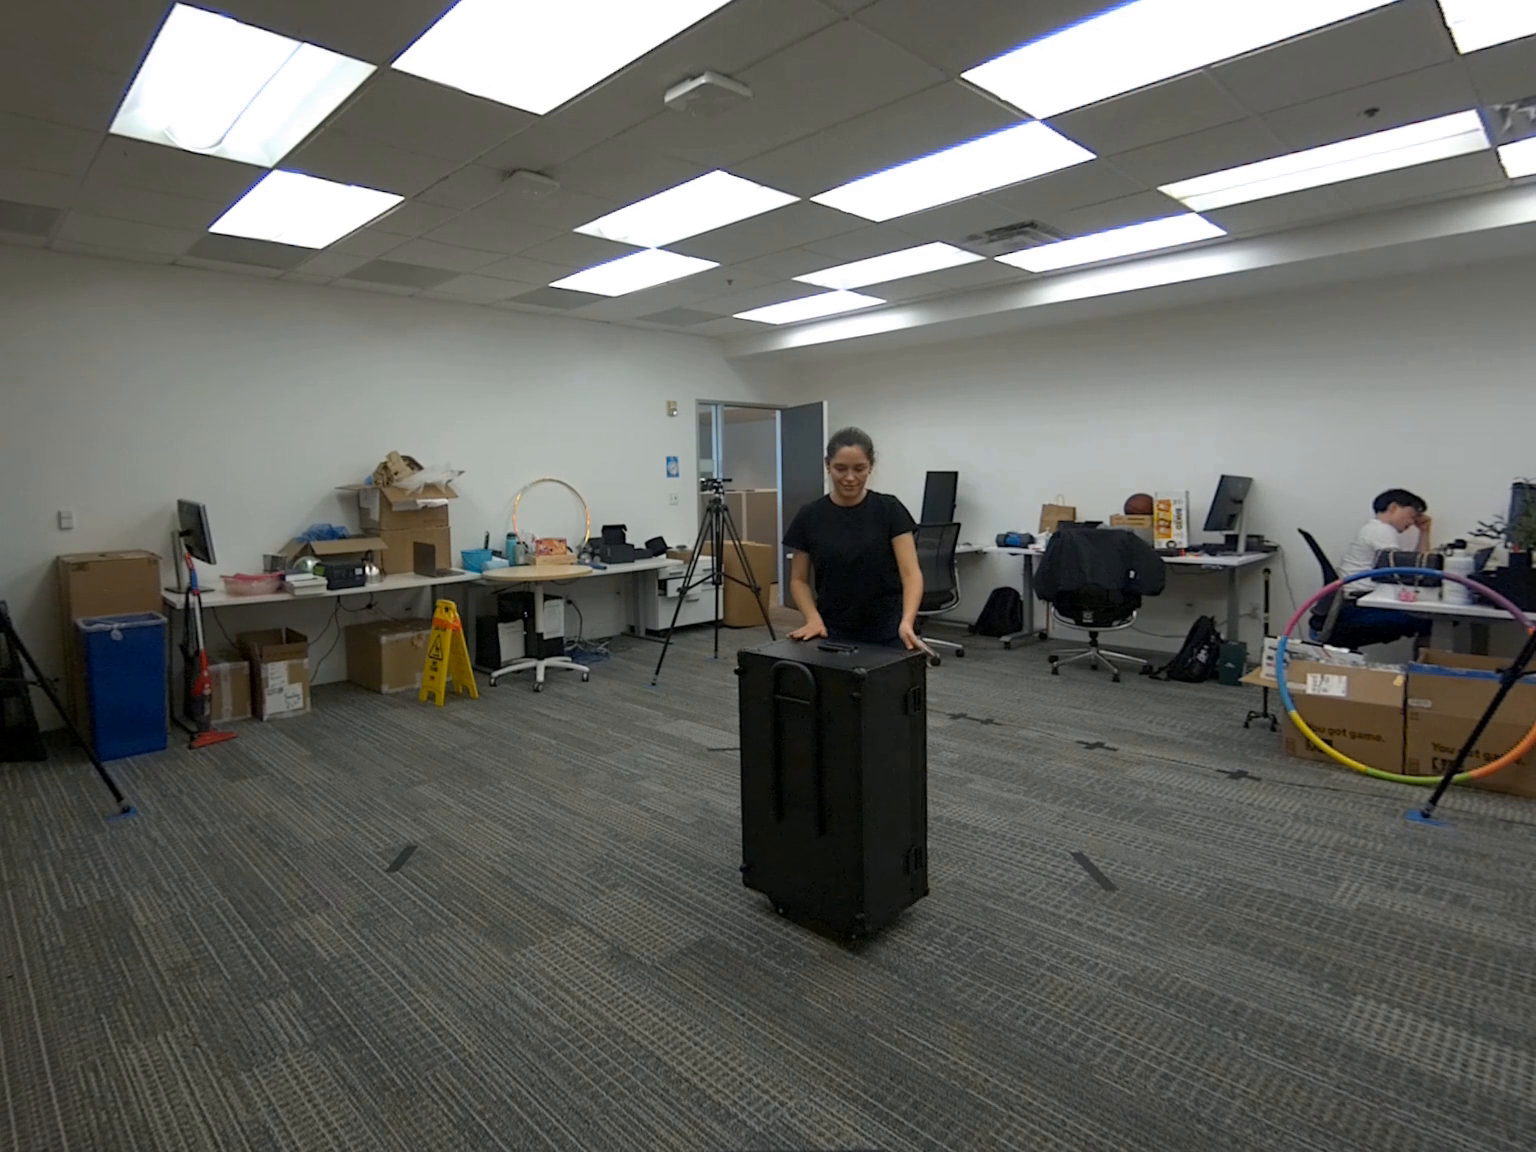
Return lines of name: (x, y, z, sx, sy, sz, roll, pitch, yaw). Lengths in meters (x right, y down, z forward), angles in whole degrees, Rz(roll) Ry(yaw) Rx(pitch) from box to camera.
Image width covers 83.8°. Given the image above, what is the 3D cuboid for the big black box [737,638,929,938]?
big black box: (0.205, 0.662, 2.723, 0.537, 0.857, 0.386, 3, 7, 42)
